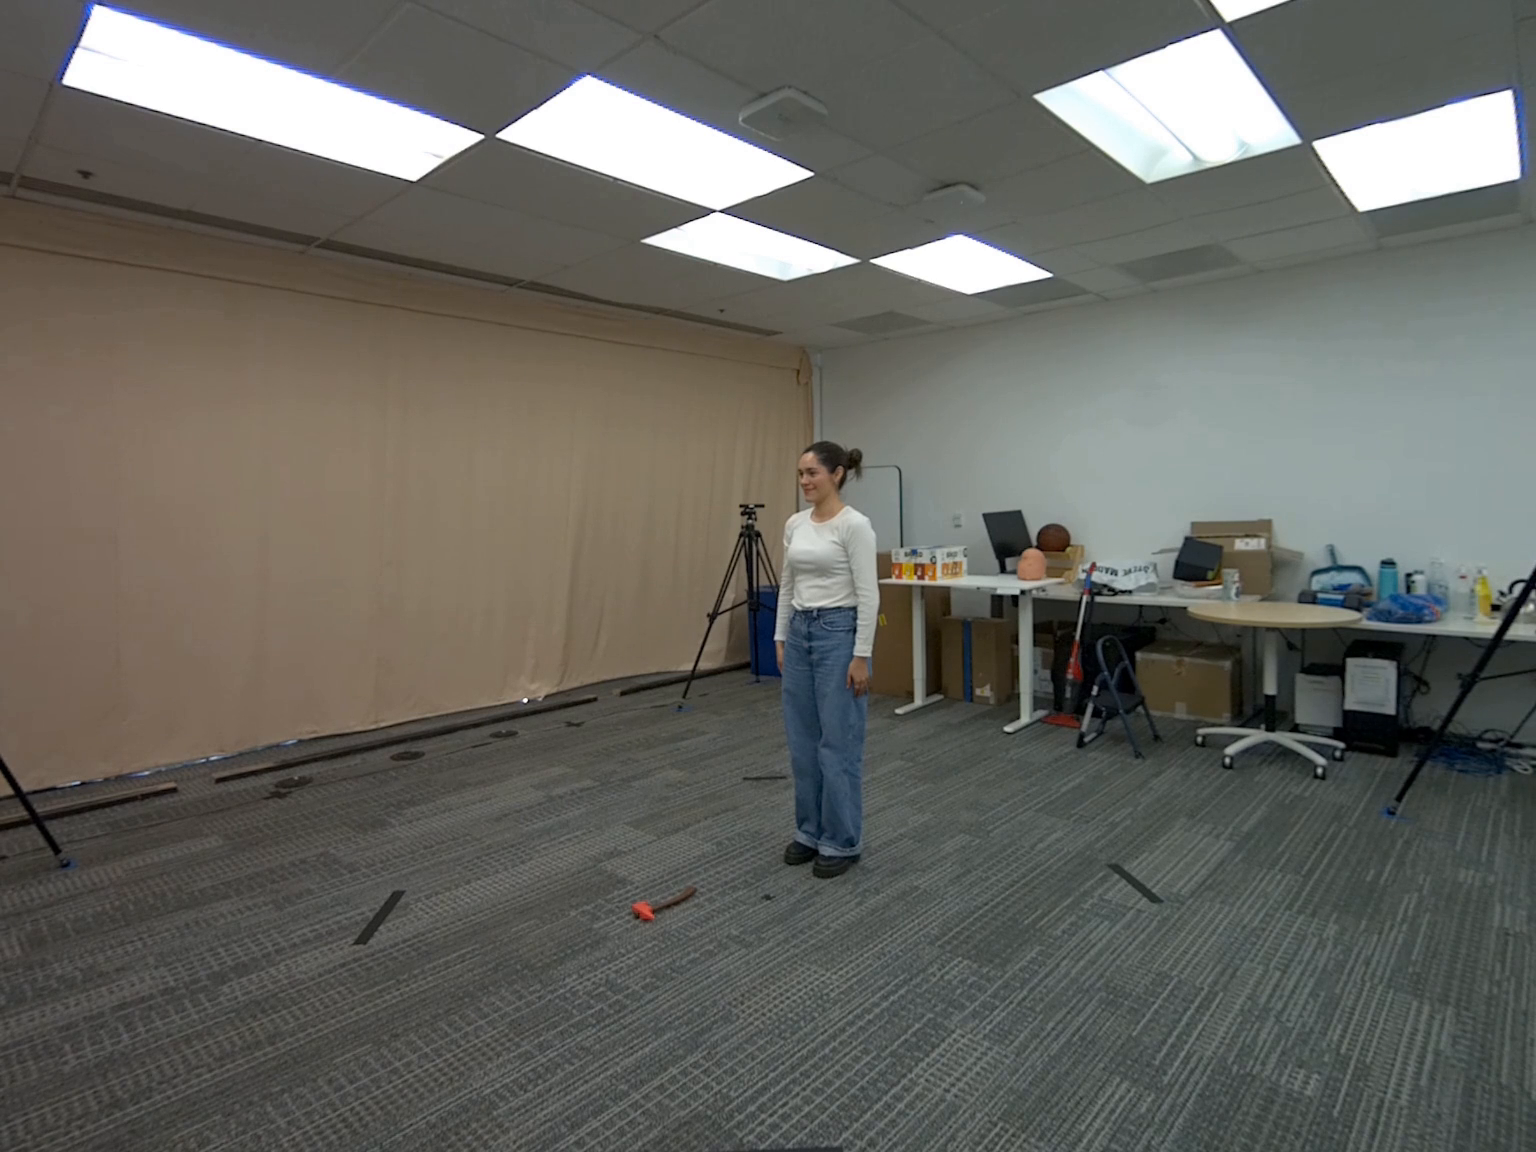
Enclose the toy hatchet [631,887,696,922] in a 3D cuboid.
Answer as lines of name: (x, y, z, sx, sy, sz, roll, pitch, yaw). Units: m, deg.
toy hatchet: (-0.375, 1.138, 2.953, 0.135, 0.029, 0.262, -3, 2, 32)
